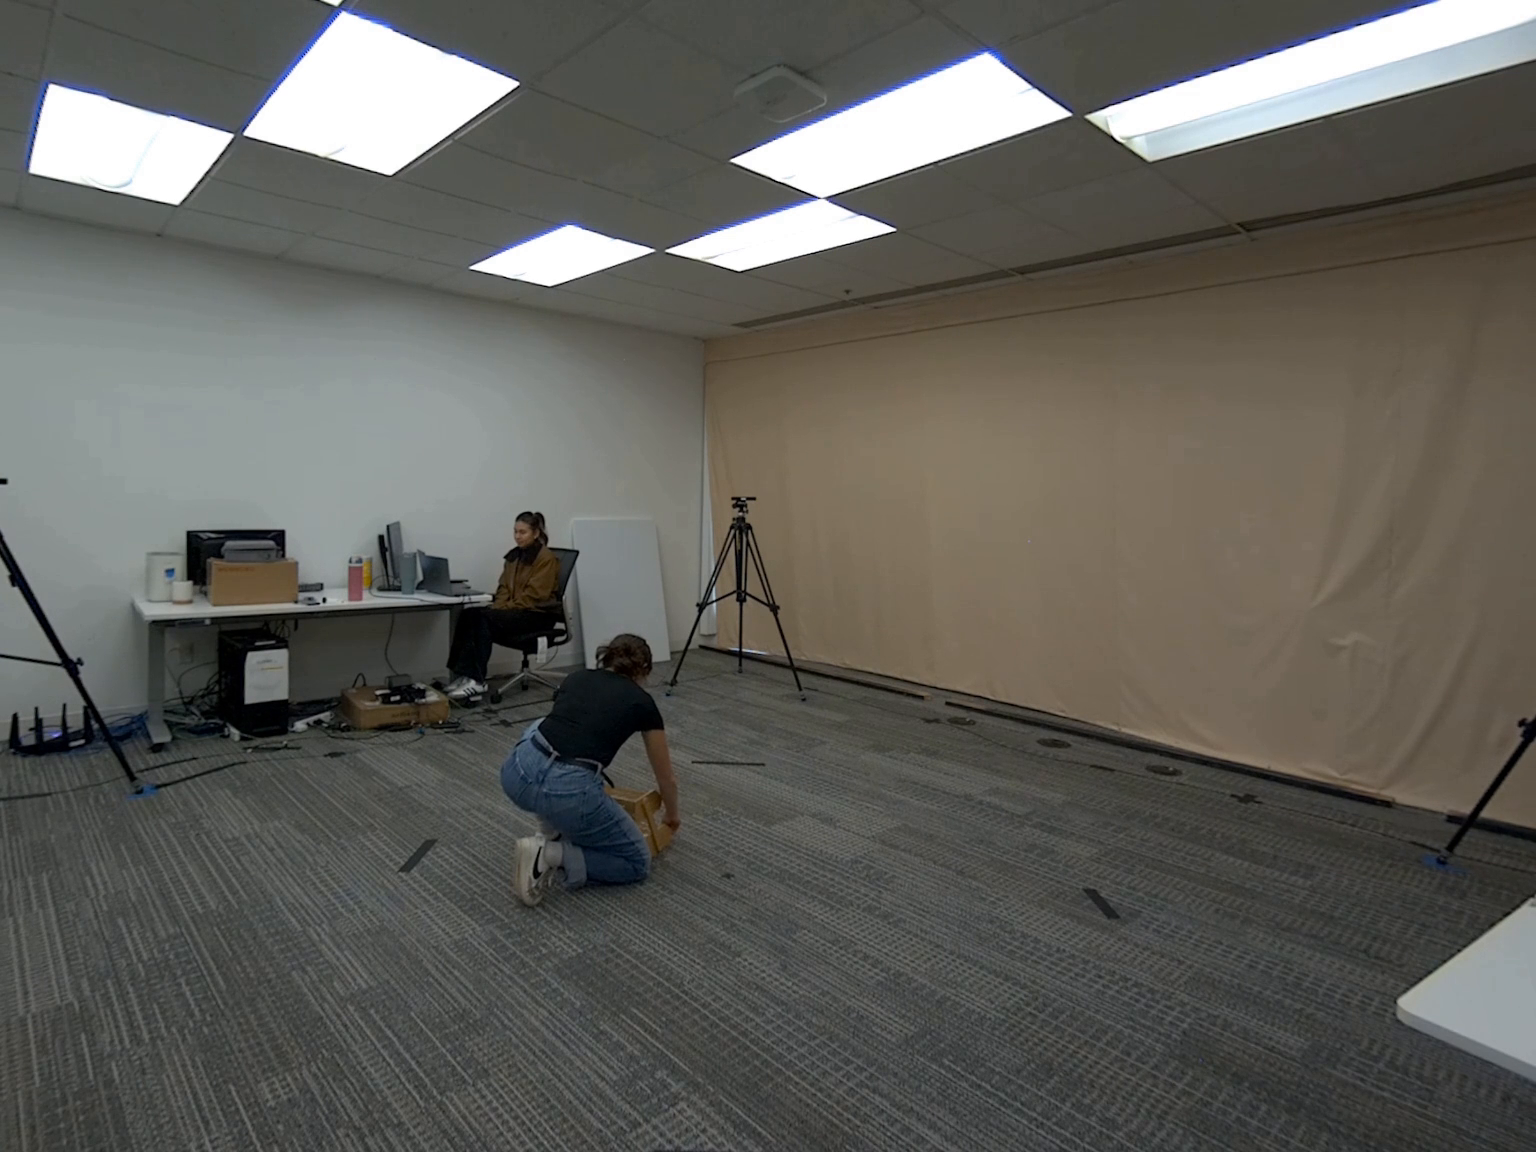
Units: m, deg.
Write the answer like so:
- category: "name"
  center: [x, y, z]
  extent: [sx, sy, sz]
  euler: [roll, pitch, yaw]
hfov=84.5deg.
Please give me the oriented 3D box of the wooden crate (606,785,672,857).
- category: "wooden crate"
  center: [-0.582, 0.946, 3.324]
  extent: [0.330, 0.272, 0.298]
  euler: [3, 6, 22]
